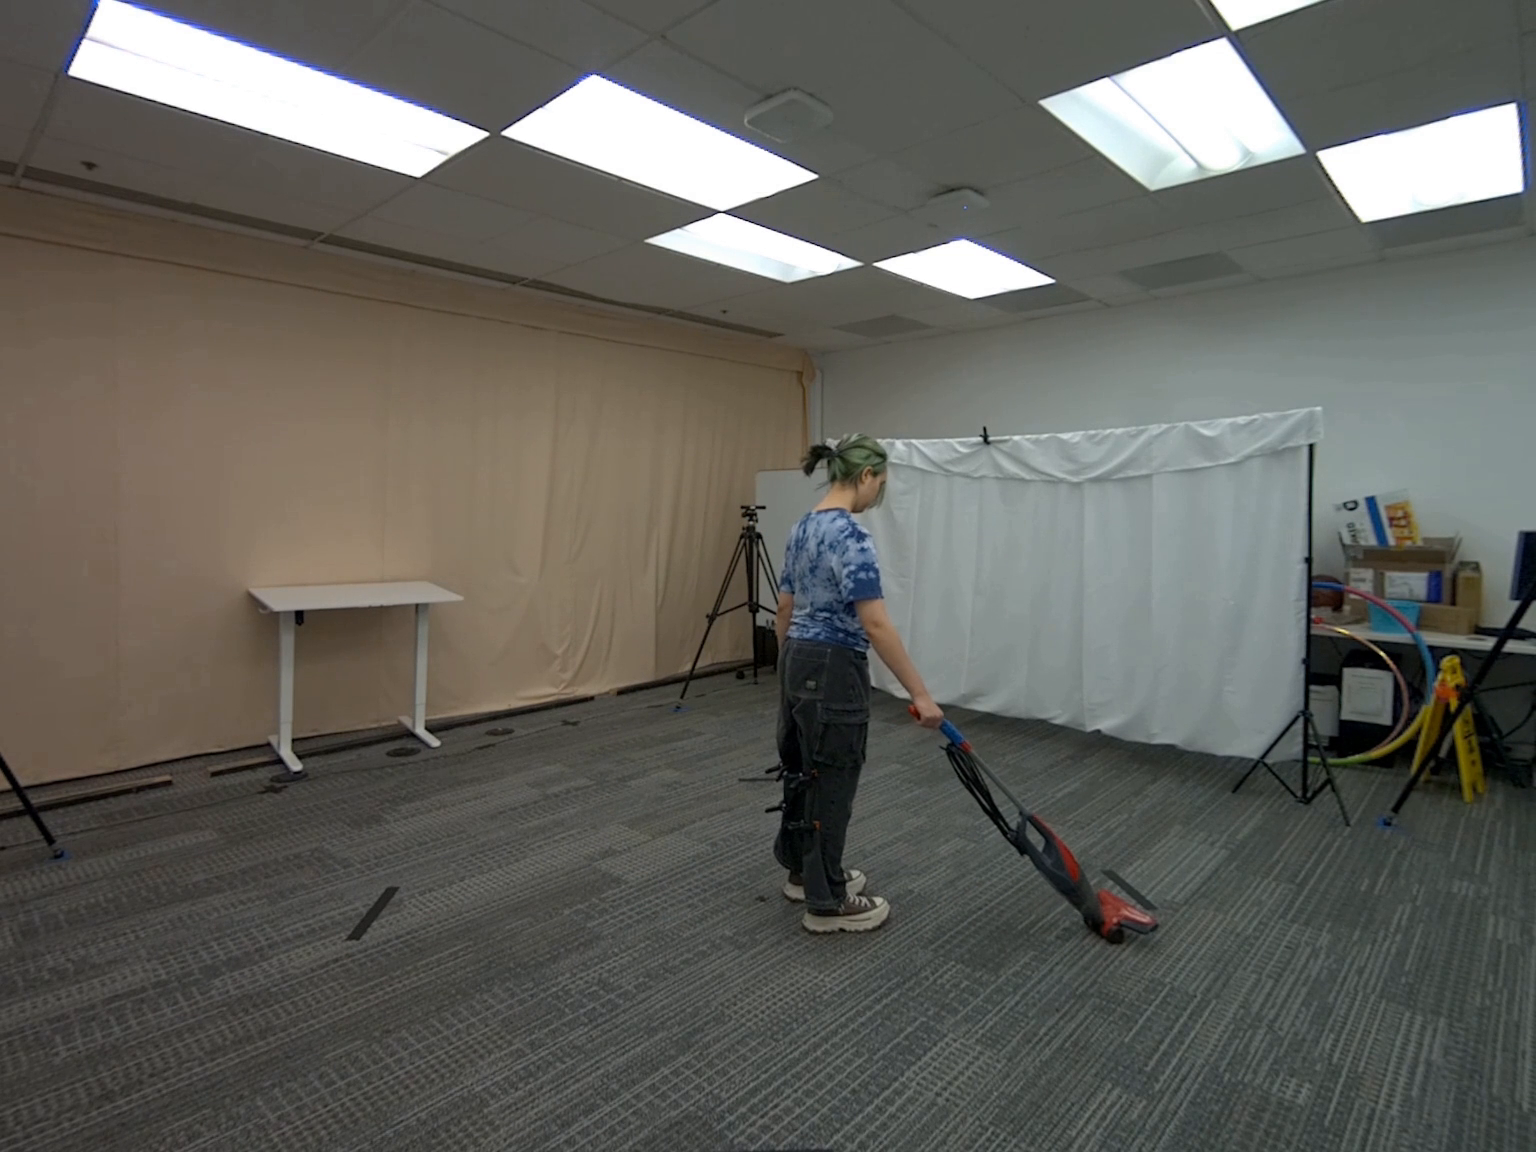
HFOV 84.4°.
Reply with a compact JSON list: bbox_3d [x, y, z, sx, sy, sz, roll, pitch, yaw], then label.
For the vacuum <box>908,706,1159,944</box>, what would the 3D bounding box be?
[{"bbox_3d":[0.782,0.772,2.637,1.034,0.143,0.257,45,-8,-12],"label":"vacuum"}]
